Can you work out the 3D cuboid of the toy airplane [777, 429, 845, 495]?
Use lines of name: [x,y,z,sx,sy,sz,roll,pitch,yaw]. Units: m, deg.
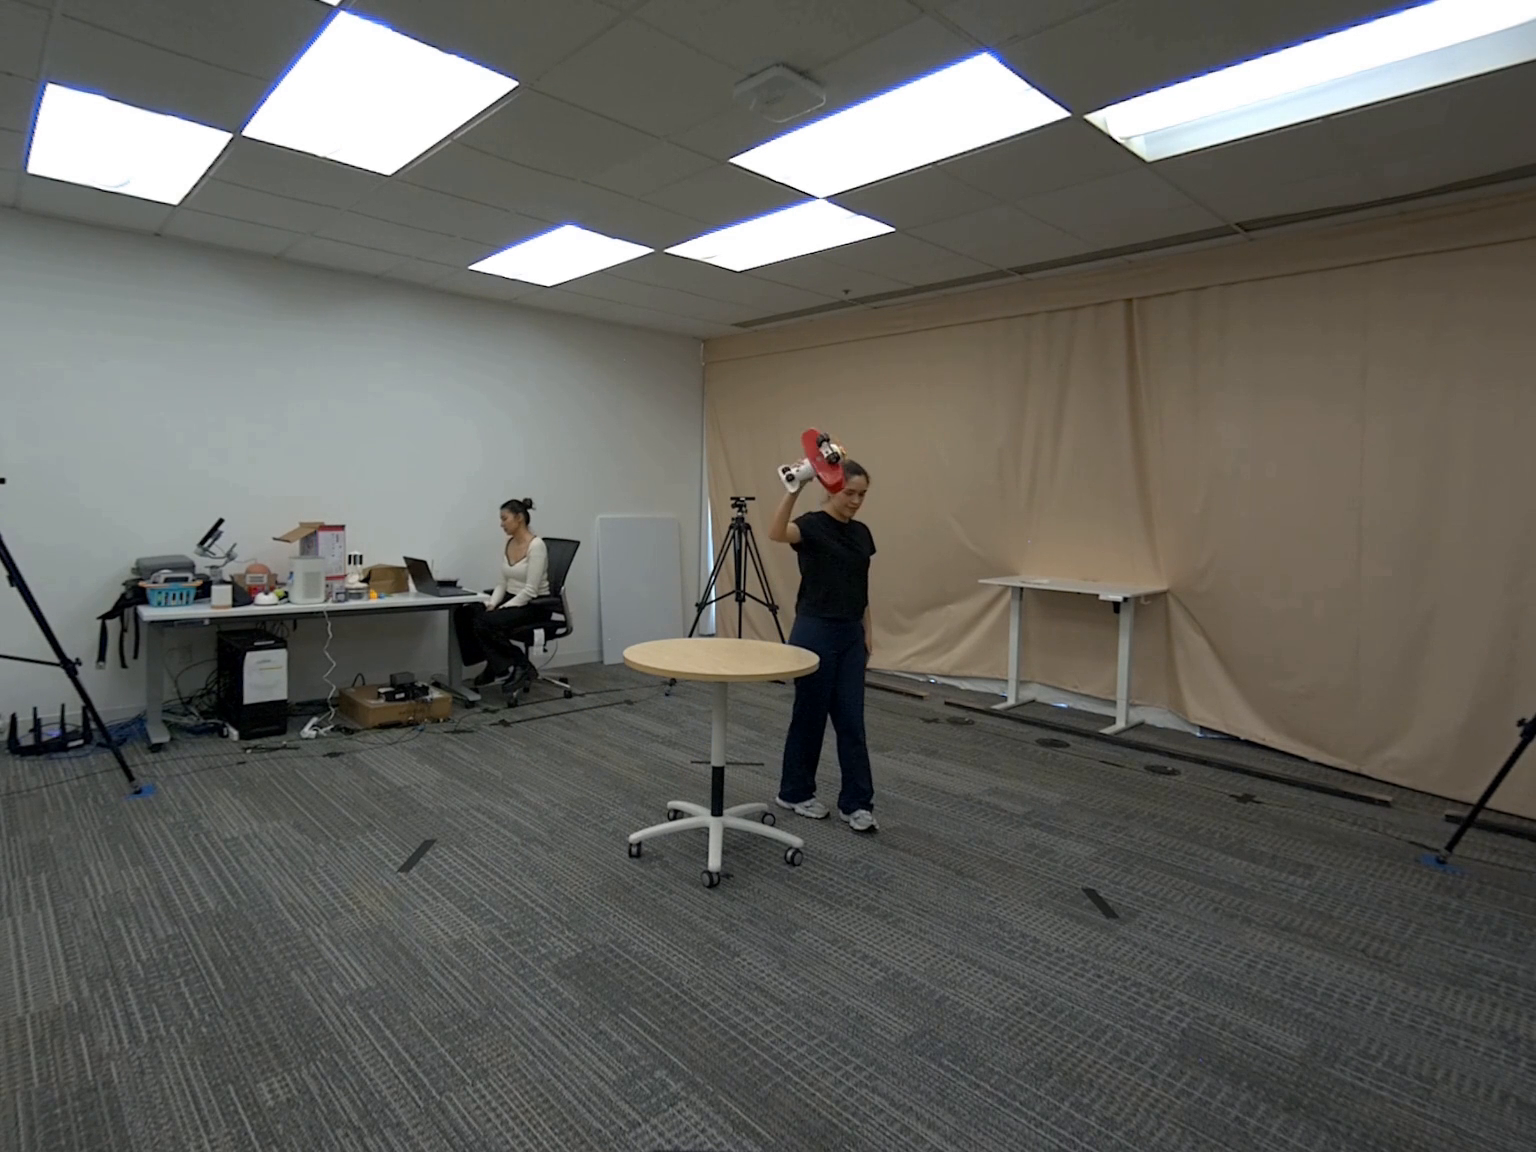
toy airplane: [0.163,-0.425,3.225,0.264,0.253,0.152,-3,-10,25]
